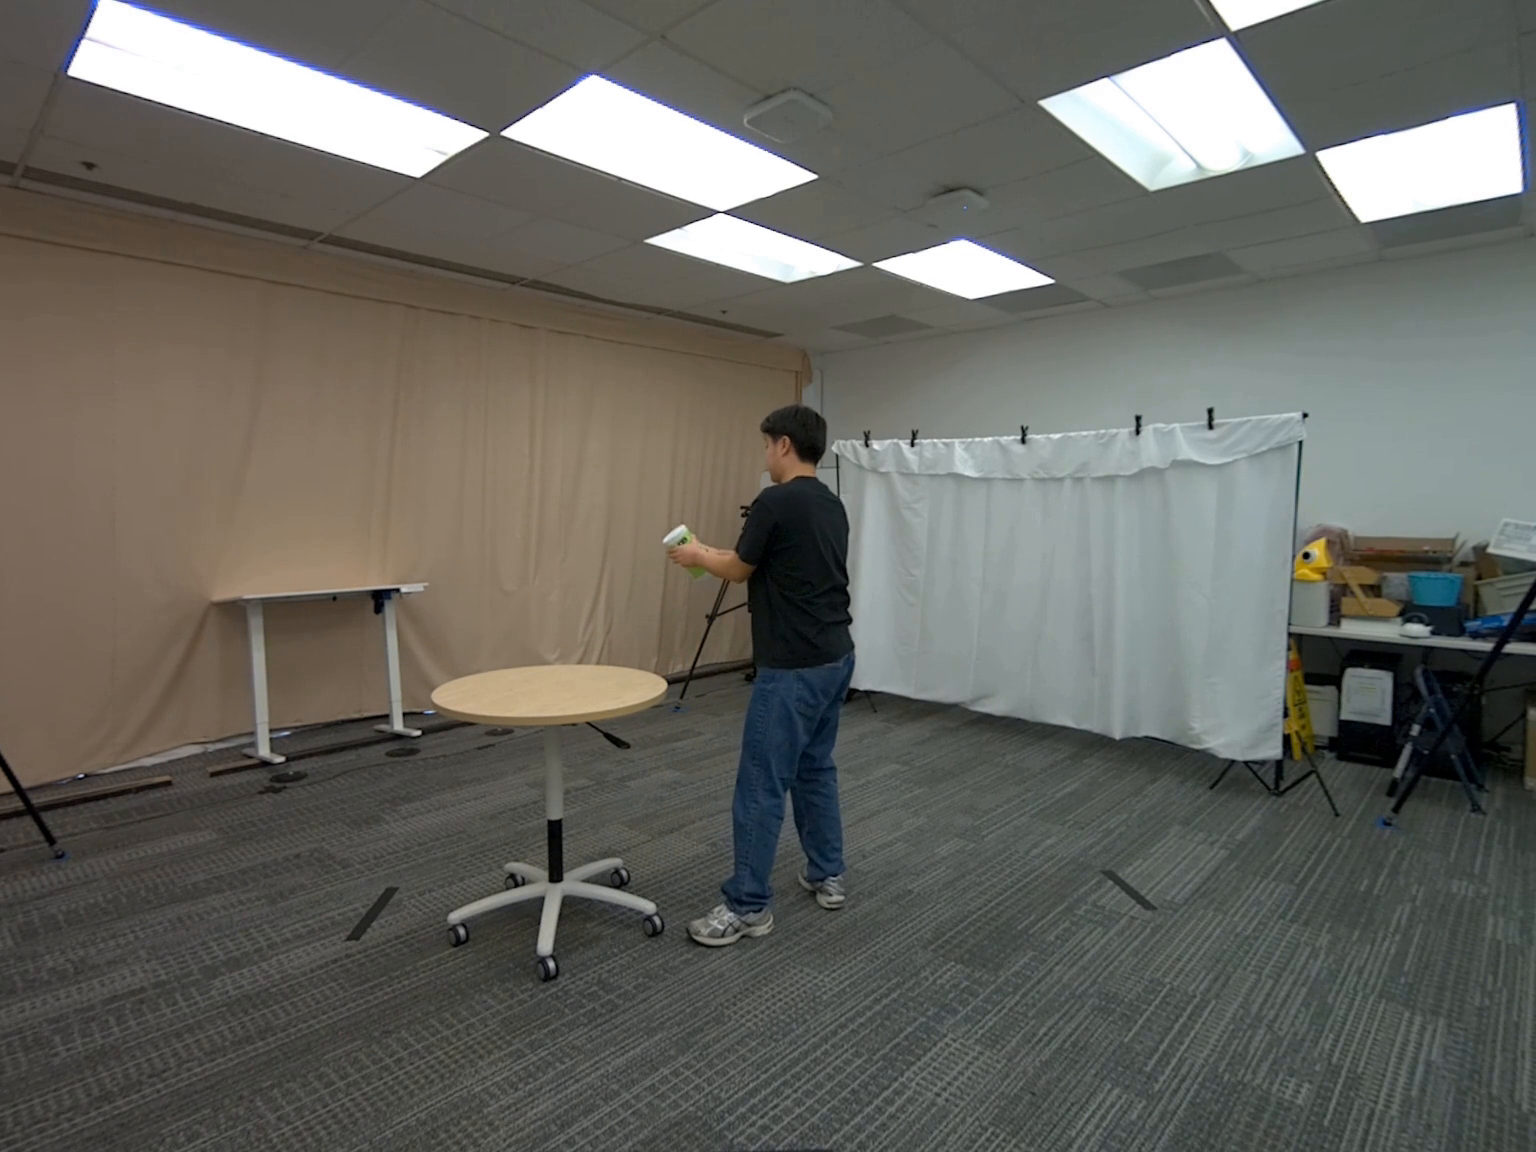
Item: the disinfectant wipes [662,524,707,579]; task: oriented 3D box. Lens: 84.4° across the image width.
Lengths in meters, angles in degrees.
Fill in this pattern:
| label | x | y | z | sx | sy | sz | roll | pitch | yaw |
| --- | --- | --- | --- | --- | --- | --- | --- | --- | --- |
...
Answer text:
| label | x | y | z | sx | sy | sz | roll | pitch | yaw |
| --- | --- | --- | --- | --- | --- | --- | --- | --- | --- |
| disinfectant wipes | -0.294 | -0.082 | 3.205 | 0.118 | 0.214 | 0.119 | -37 | 13 | 8 |
